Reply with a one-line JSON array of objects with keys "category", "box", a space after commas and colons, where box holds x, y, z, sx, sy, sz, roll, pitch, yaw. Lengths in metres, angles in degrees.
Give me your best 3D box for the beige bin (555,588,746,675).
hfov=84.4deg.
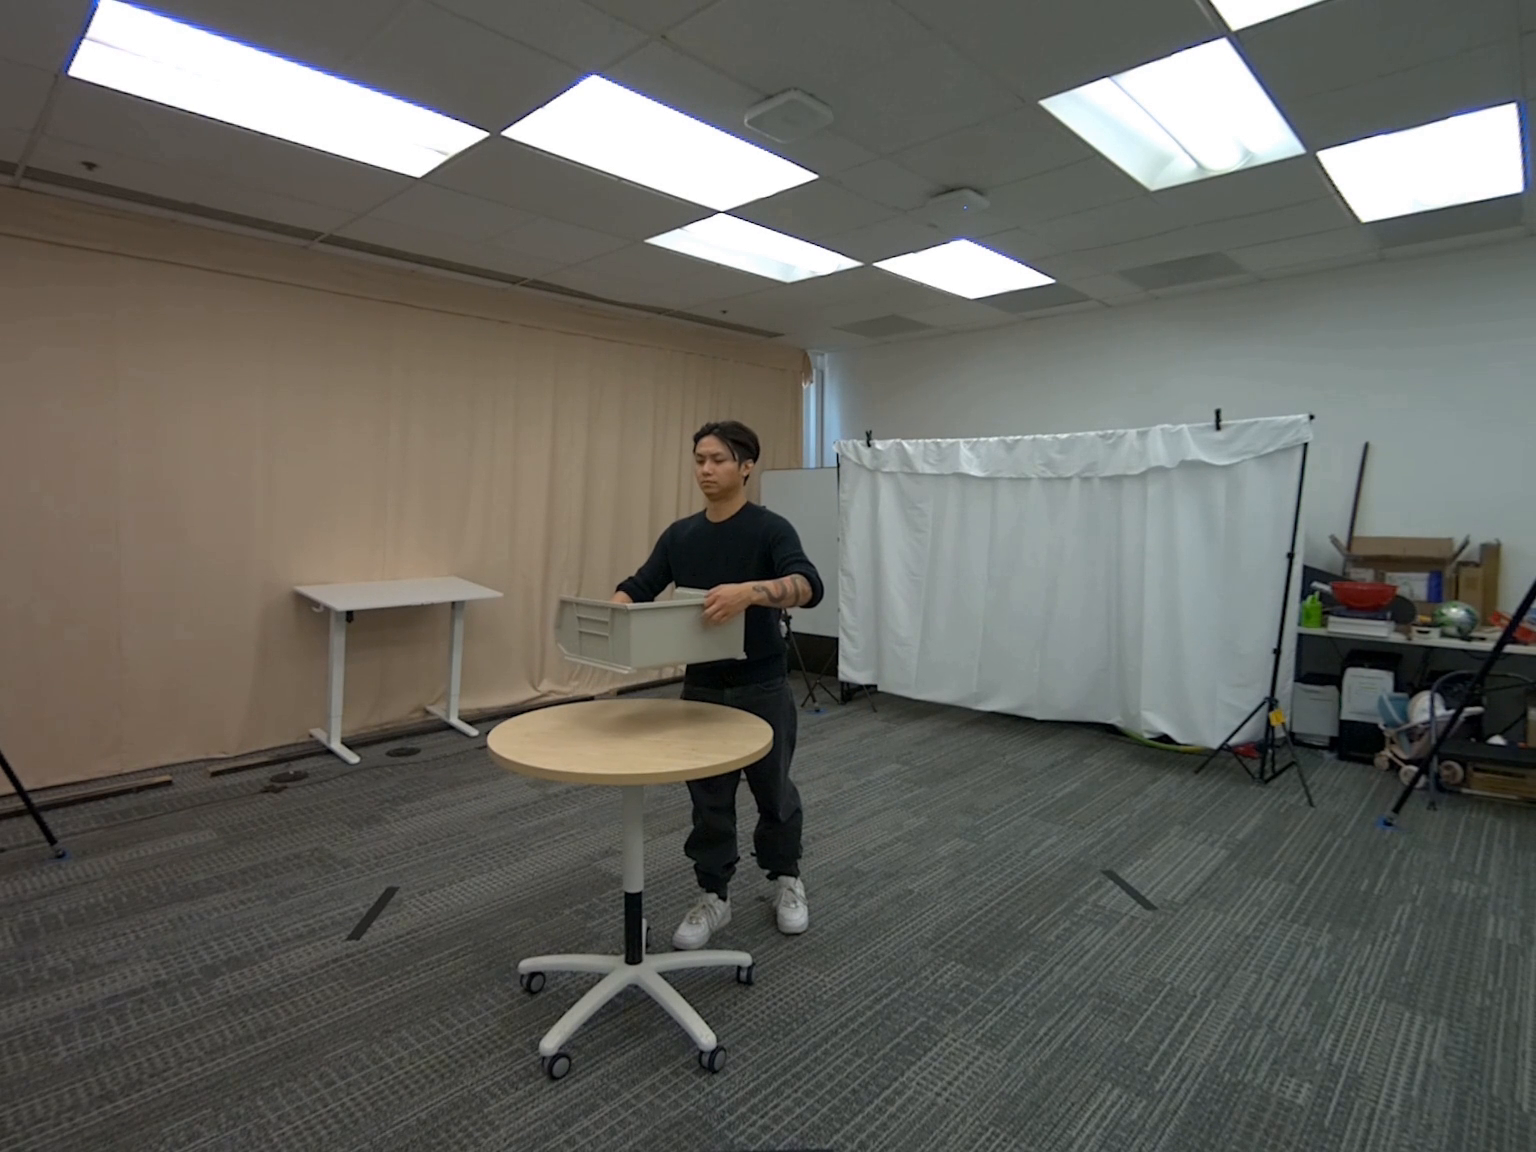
[{"category": "beige bin", "box": [-0.328, 0.146, 2.379, 0.409, 0.188, 0.390, -2, 5, -41]}]
